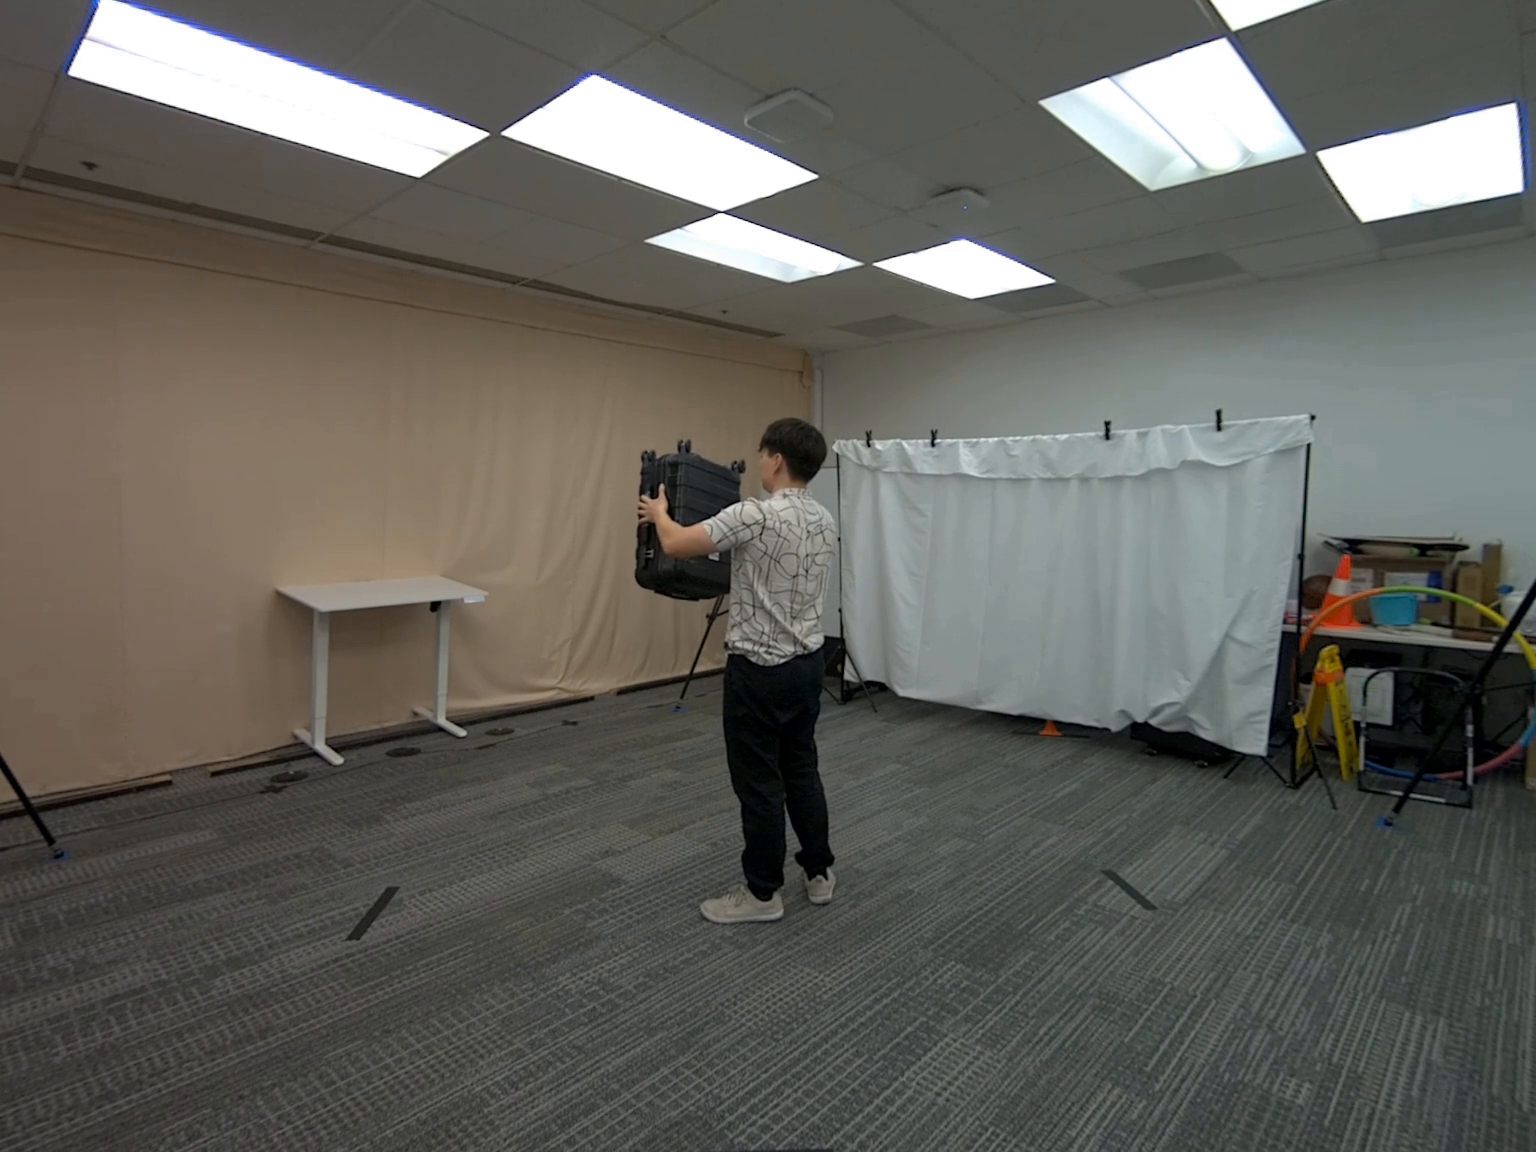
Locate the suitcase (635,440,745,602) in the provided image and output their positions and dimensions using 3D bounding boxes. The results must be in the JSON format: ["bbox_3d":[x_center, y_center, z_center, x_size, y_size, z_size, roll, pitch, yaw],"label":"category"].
[{"bbox_3d":[-0.291,-0.195,3.135,0.255,0.554,0.362,-10,-20,40],"label":"suitcase"}]
